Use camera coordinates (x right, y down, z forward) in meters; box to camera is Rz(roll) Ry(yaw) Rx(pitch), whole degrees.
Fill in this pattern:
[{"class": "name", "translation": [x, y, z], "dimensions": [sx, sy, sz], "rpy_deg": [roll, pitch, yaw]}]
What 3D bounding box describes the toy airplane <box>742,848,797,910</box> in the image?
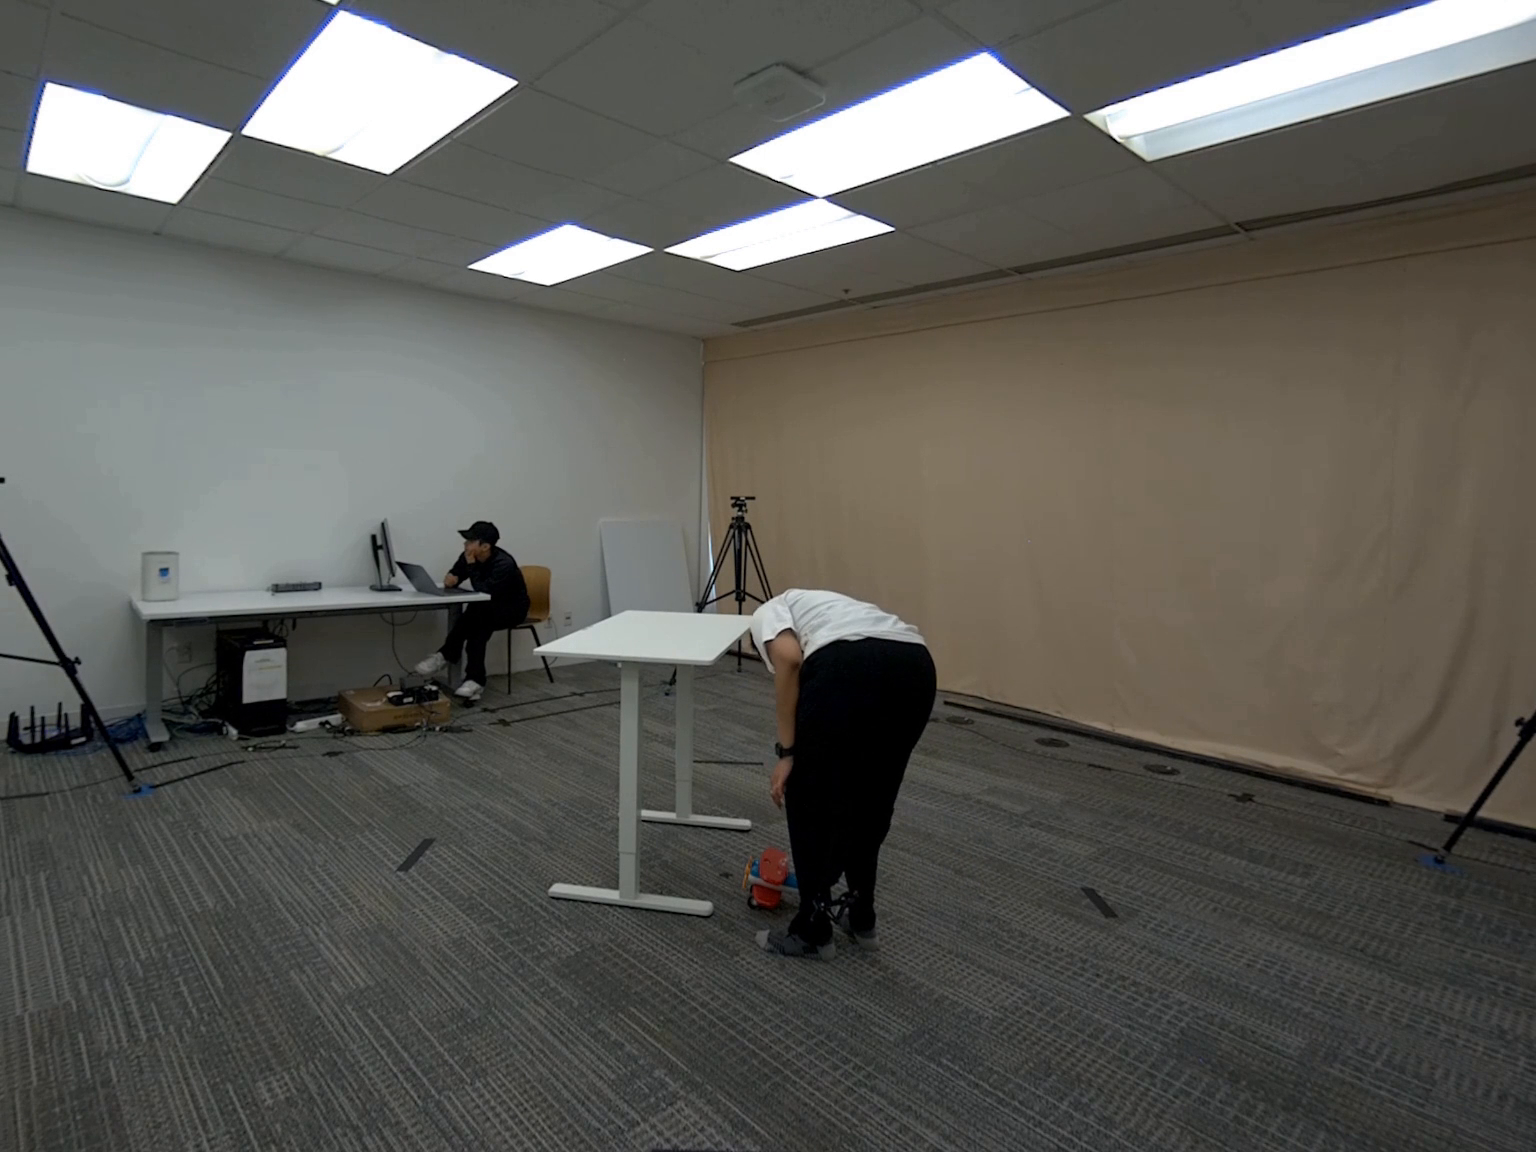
[{"class": "toy airplane", "translation": [0.039, 1.050, 2.906], "dimensions": [0.255, 0.156, 0.256], "rpy_deg": [-1, 7, -25]}]
